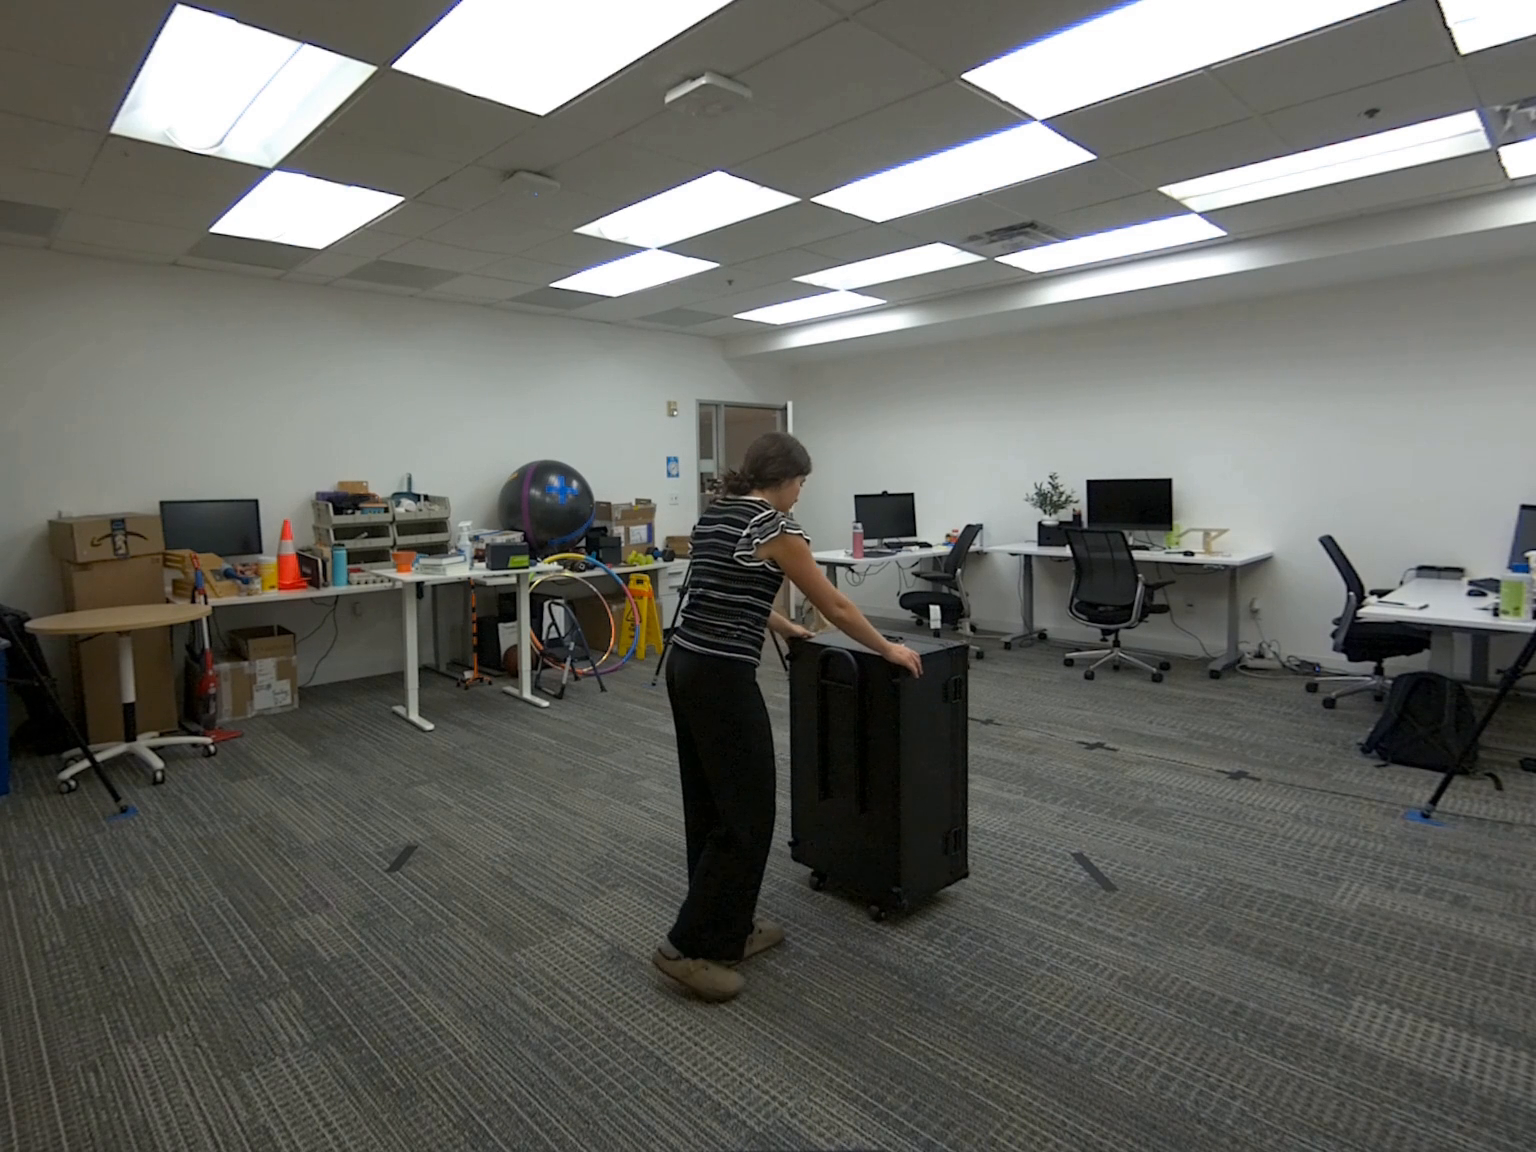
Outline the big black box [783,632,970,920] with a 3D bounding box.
[{"bbox_3d":[0.365,0.639,2.865,0.386,0.858,0.537,-4,6,-40],"label":"big black box"}]
